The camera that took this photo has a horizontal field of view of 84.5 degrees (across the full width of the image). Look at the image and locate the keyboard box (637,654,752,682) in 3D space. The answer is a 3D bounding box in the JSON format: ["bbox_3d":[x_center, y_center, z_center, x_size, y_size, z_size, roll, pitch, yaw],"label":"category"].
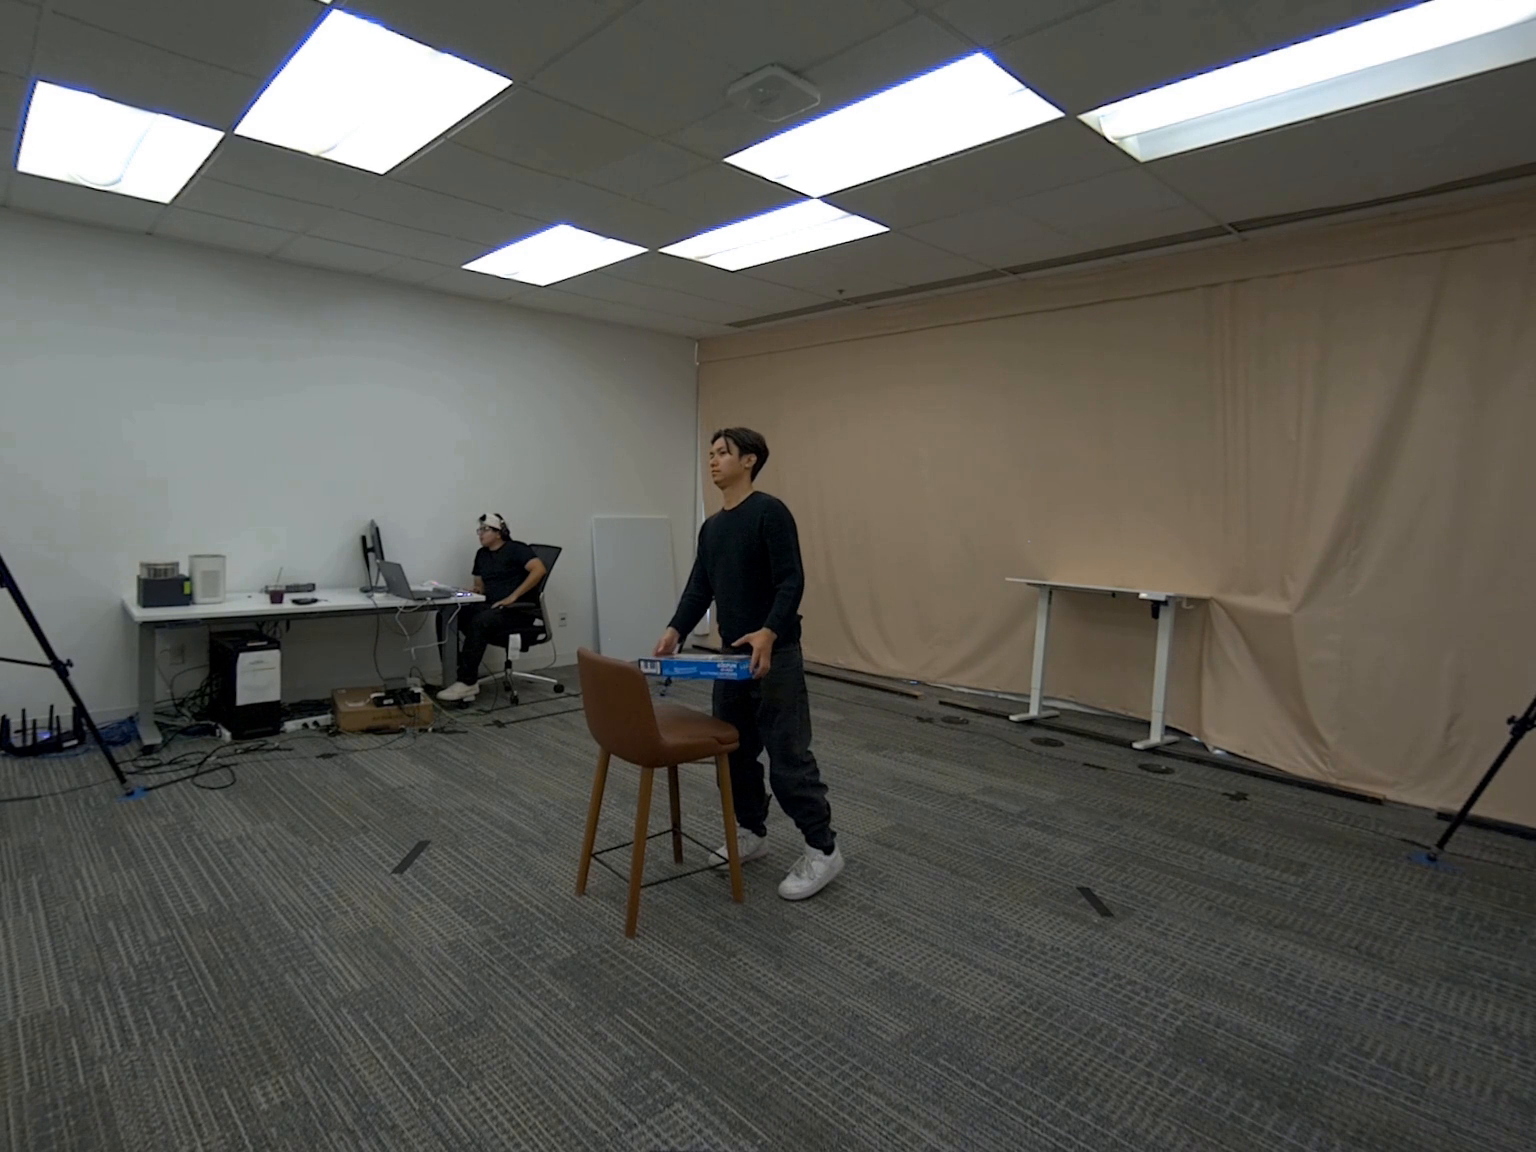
[{"bbox_3d":[-0.236,0.311,2.915,0.446,0.059,0.172,-2,0,35],"label":"keyboard box"}]
